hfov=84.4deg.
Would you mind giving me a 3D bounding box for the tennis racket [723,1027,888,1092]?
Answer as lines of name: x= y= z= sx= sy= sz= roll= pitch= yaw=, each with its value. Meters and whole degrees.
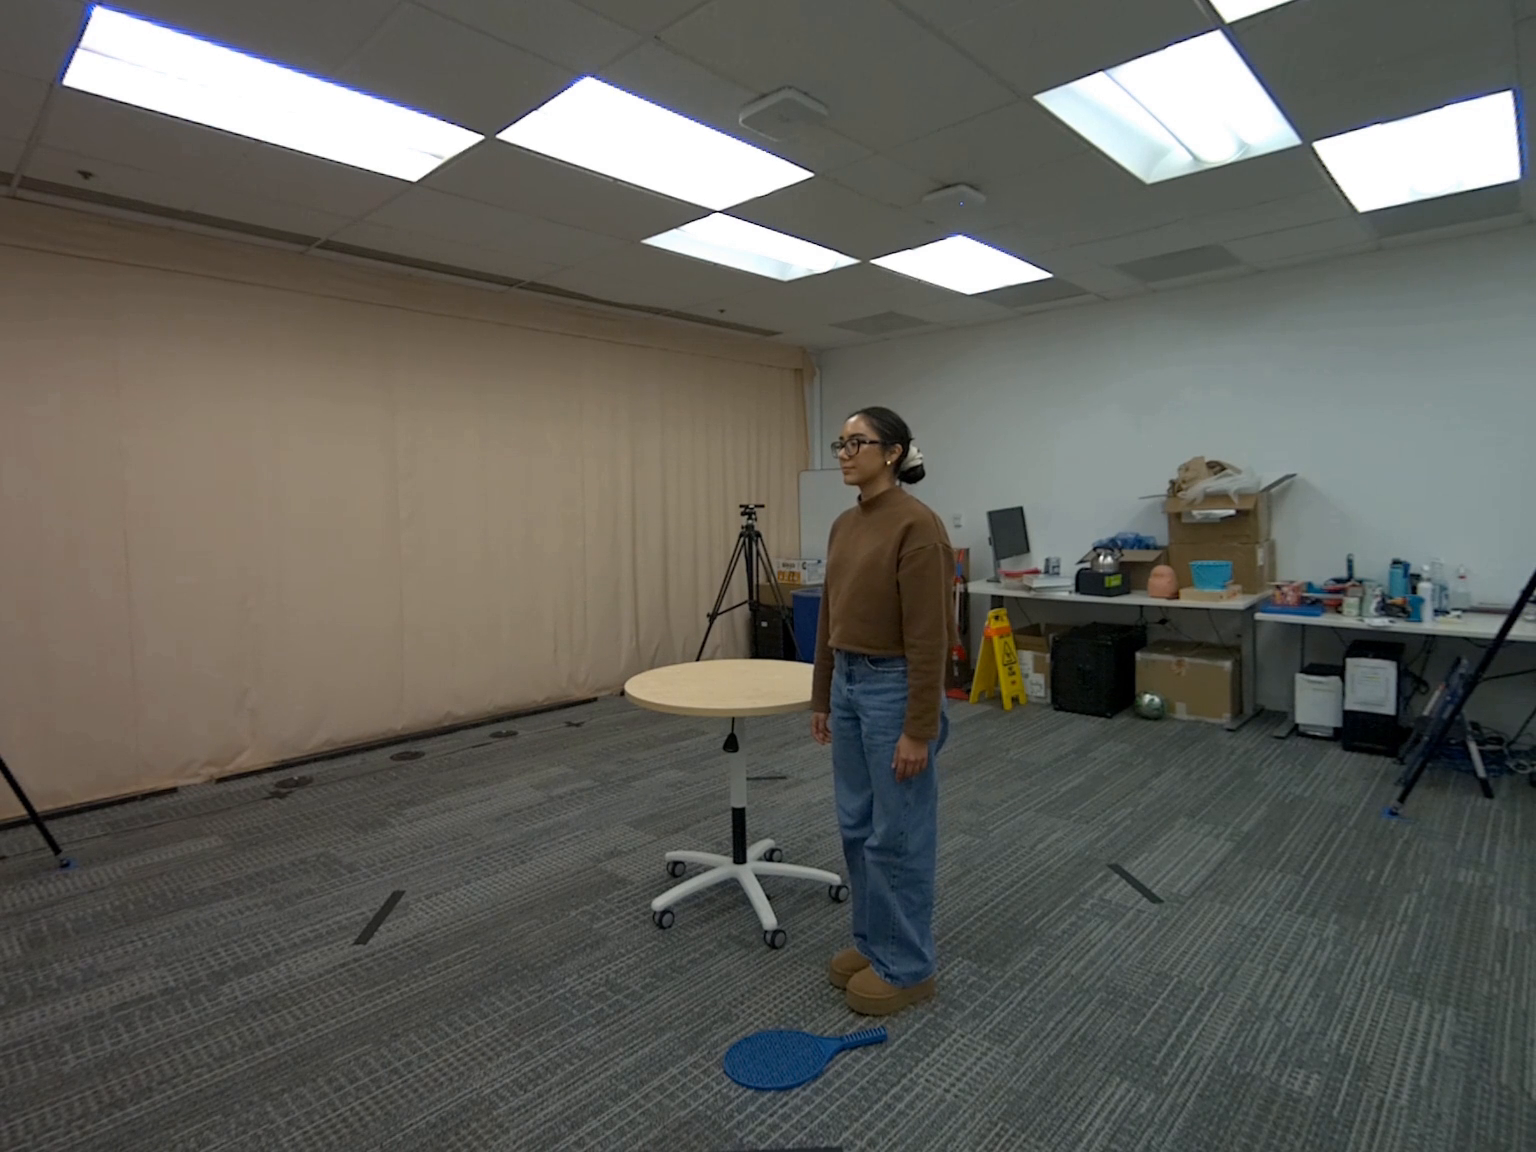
tennis racket: x=0.105 y=1.189 z=2.136 sx=0.425 sy=0.031 sz=0.218 roll=-4 pitch=6 yaw=-18
